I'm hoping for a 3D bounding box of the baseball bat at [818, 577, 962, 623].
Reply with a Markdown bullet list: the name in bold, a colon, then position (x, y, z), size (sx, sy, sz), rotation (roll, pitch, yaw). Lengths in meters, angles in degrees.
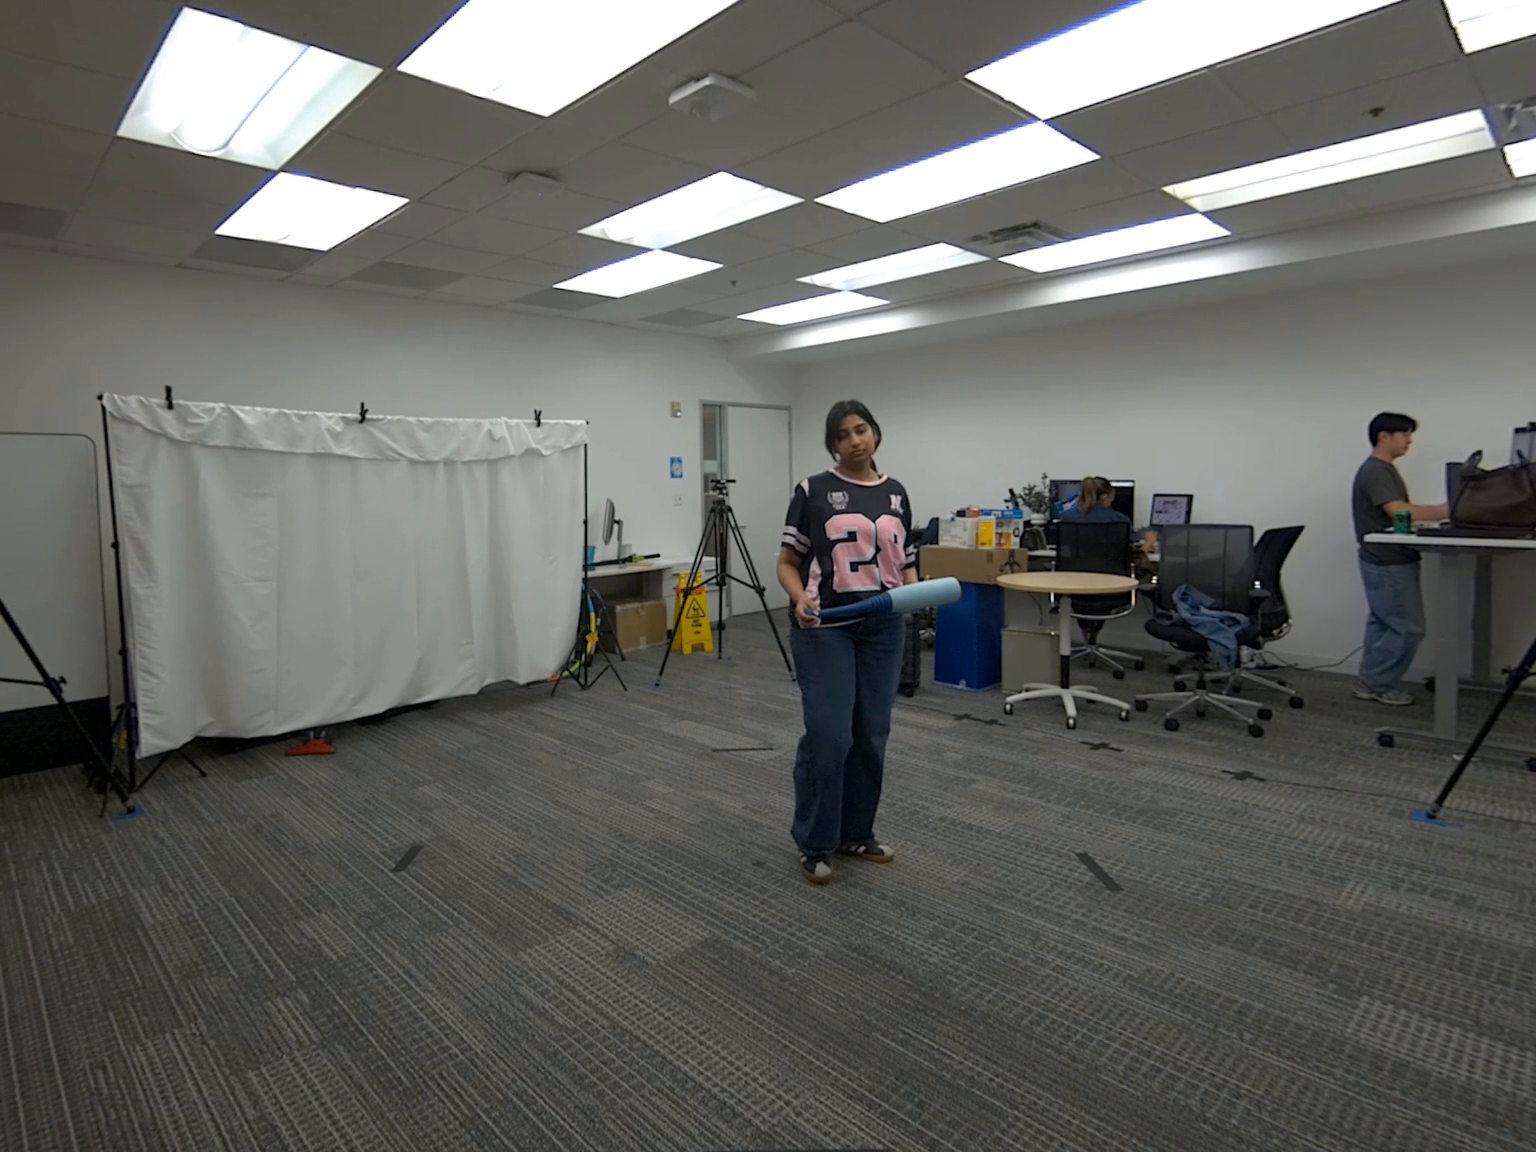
- **baseball bat**: position (0.378, 0.093, 2.829), size (0.538, 0.088, 0.090), rotation (-11, 7, -11)
